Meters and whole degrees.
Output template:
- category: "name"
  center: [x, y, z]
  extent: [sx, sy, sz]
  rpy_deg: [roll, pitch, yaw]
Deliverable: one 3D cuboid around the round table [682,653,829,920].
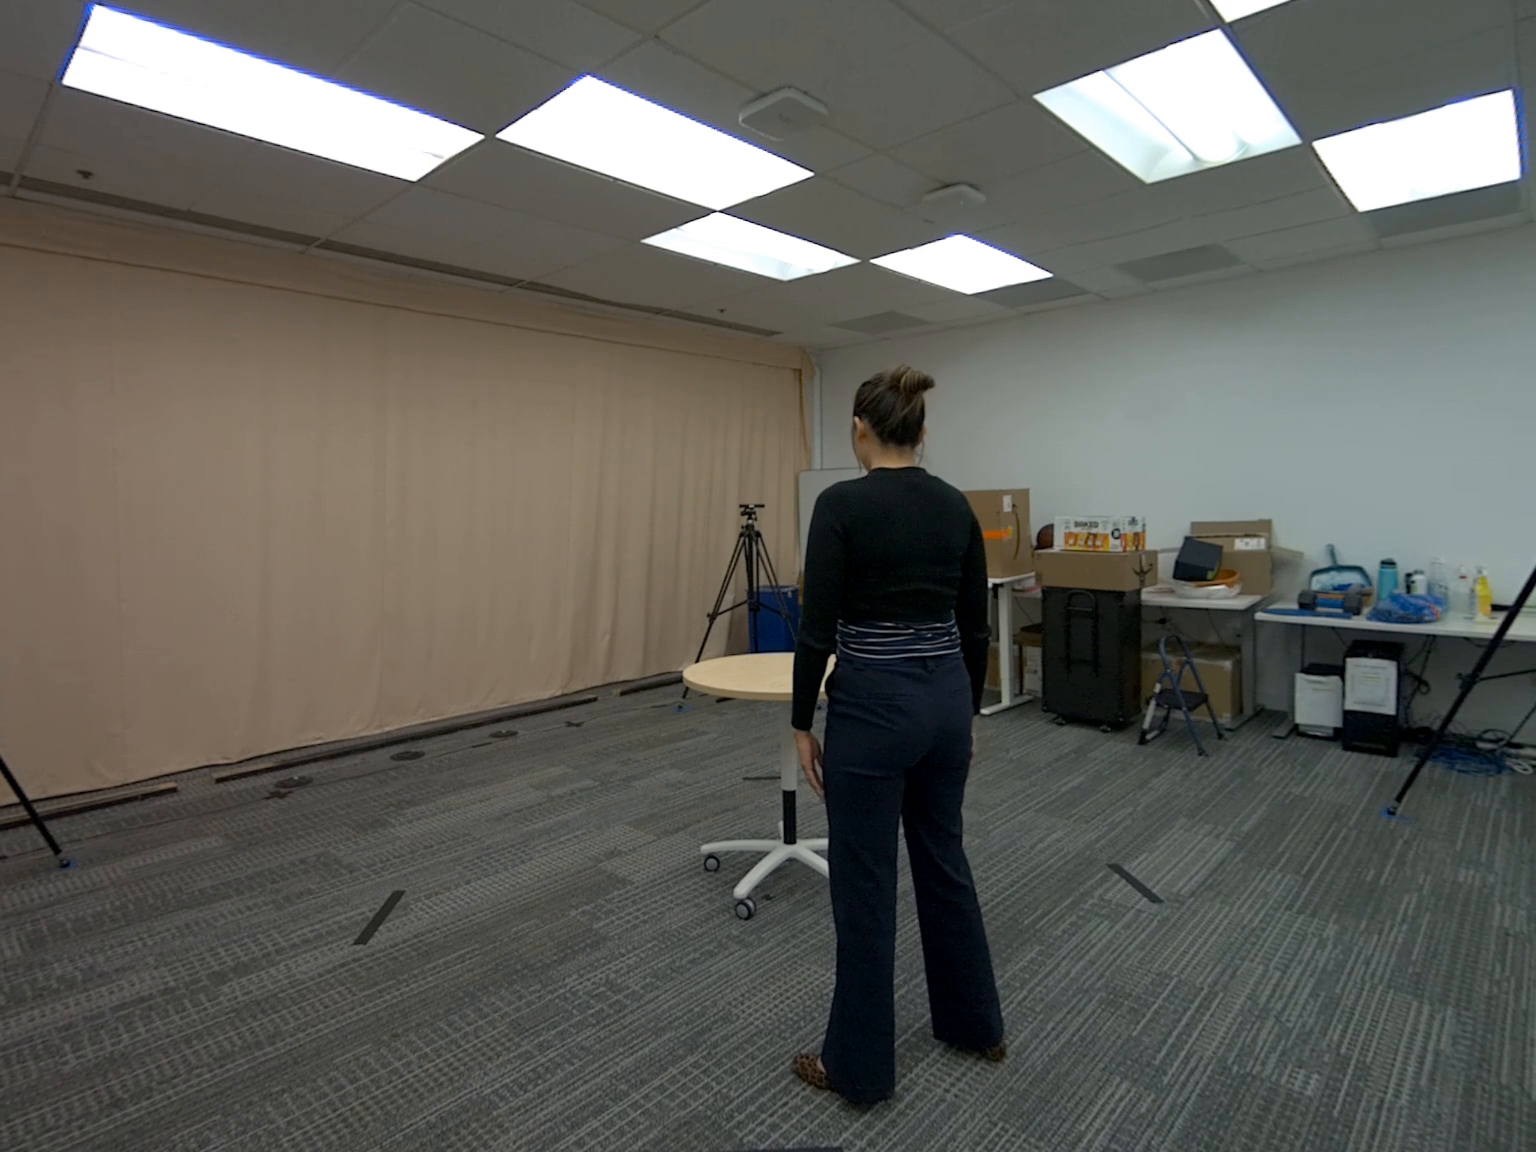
- category: "round table"
  center: [0.082, 0.739, 3.095]
  extent: [0.763, 0.792, 0.766]
  rpy_deg: [-1, 3, -2]
